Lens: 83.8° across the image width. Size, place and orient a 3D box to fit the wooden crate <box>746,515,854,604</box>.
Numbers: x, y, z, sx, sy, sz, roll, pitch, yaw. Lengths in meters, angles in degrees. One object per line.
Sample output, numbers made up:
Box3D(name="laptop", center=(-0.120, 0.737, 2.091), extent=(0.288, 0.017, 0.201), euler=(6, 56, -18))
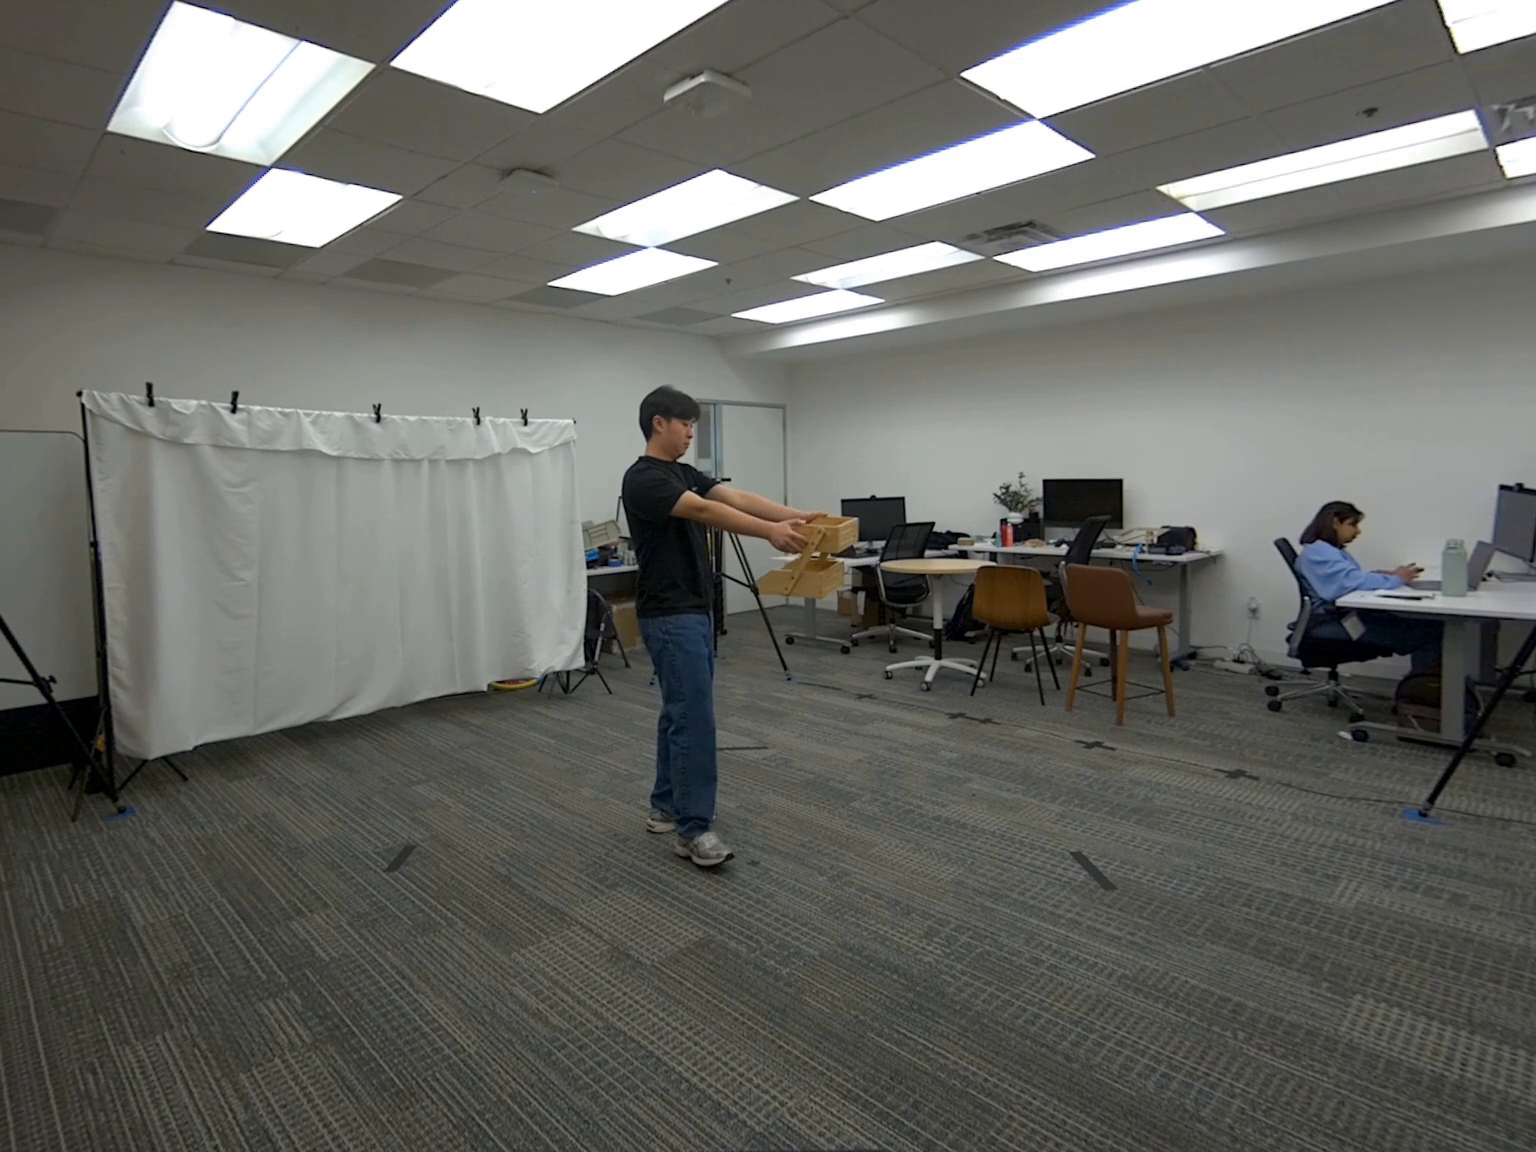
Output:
Box3D(name="wooden crate", center=(0.121, -0.075, 3.158), extent=(0.308, 0.271, 0.320), euler=(3, 9, 22))
